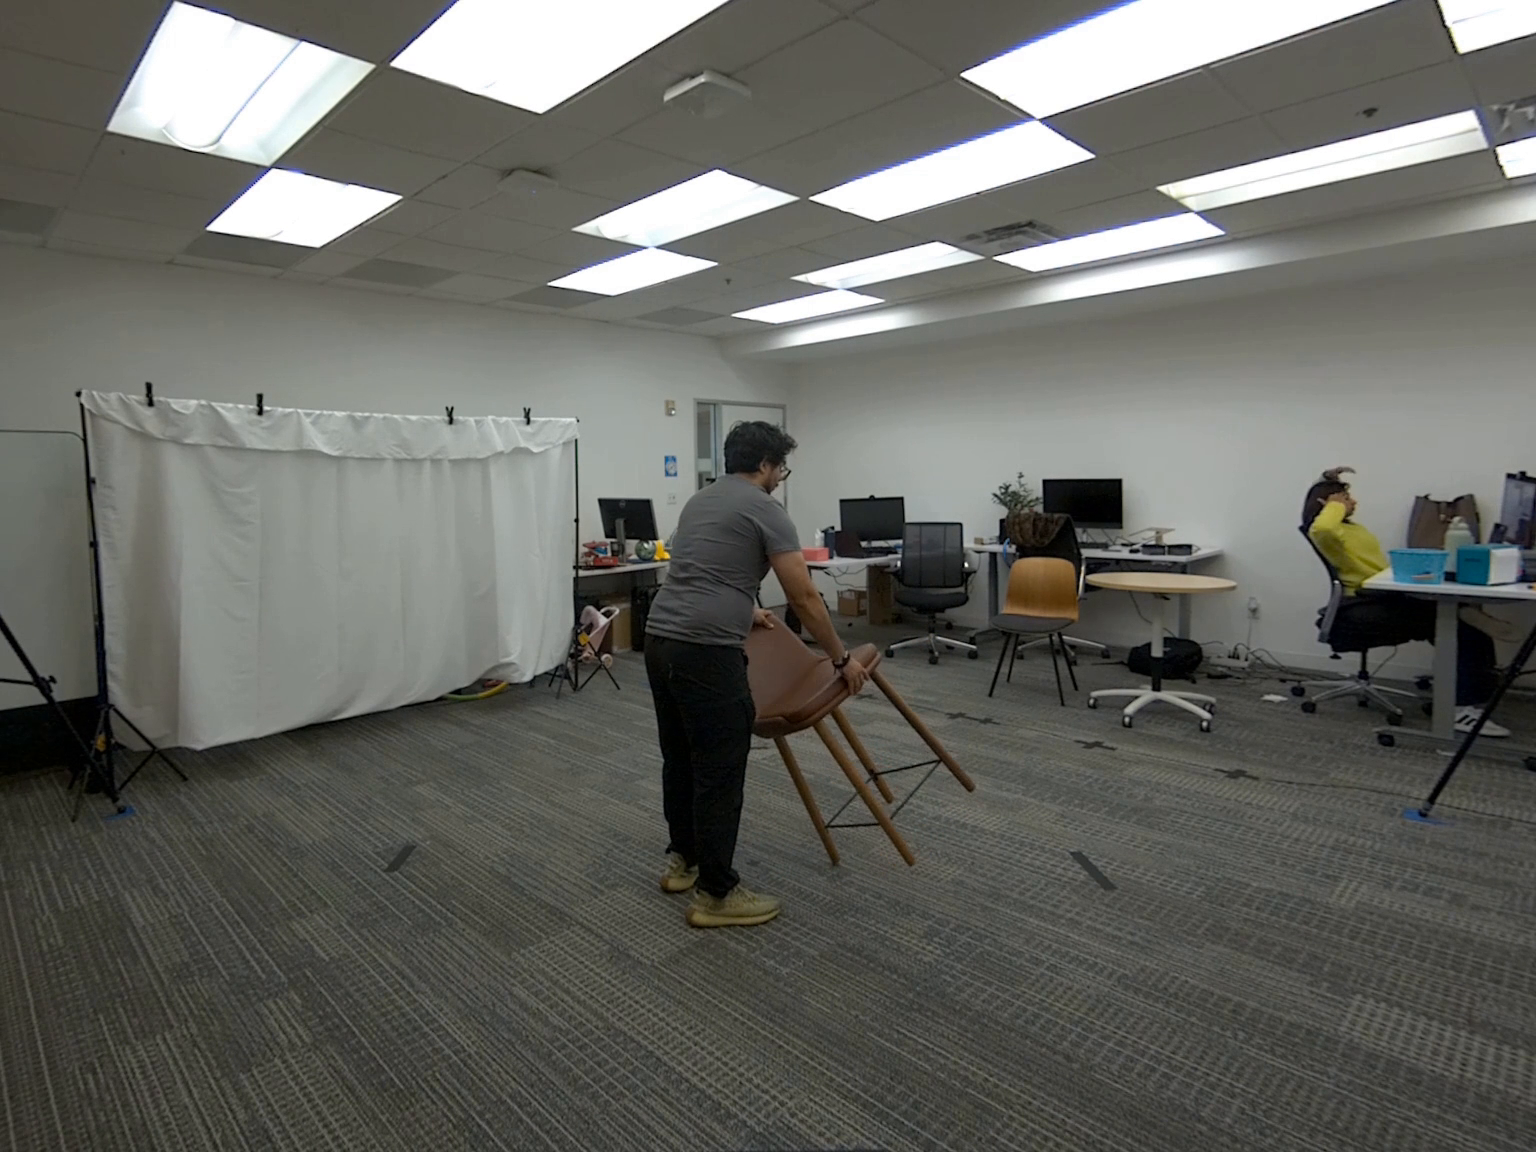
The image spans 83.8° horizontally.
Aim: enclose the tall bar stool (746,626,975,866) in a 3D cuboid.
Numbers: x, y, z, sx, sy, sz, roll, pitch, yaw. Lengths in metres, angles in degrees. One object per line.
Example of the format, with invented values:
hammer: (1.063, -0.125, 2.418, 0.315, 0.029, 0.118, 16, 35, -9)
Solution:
tall bar stool: (0.235, 0.533, 3.031, 0.452, 0.892, 0.471, -34, -1, -37)
